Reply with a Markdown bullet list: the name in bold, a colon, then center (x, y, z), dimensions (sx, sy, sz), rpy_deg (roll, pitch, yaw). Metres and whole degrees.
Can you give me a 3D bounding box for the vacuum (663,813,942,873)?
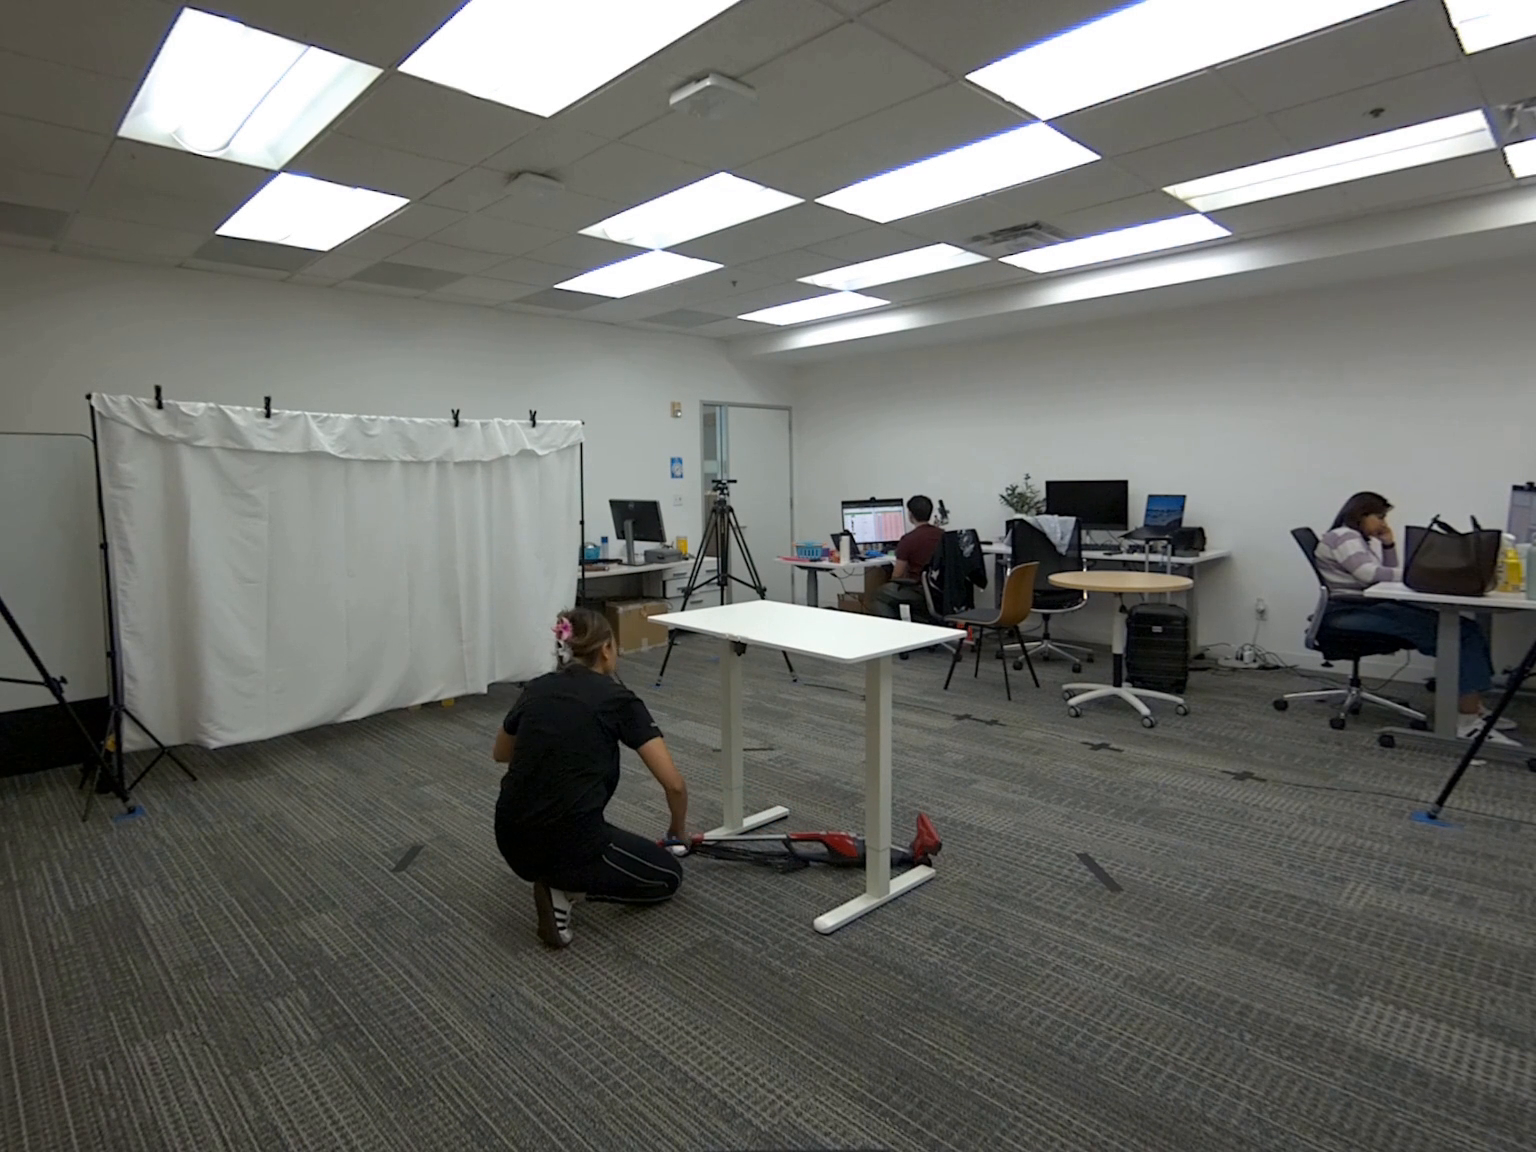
- **vacuum**: center (0.068, 0.984, 3.079), dimensions (1.049, 0.143, 0.254), rpy_deg (-3, 6, 0)
